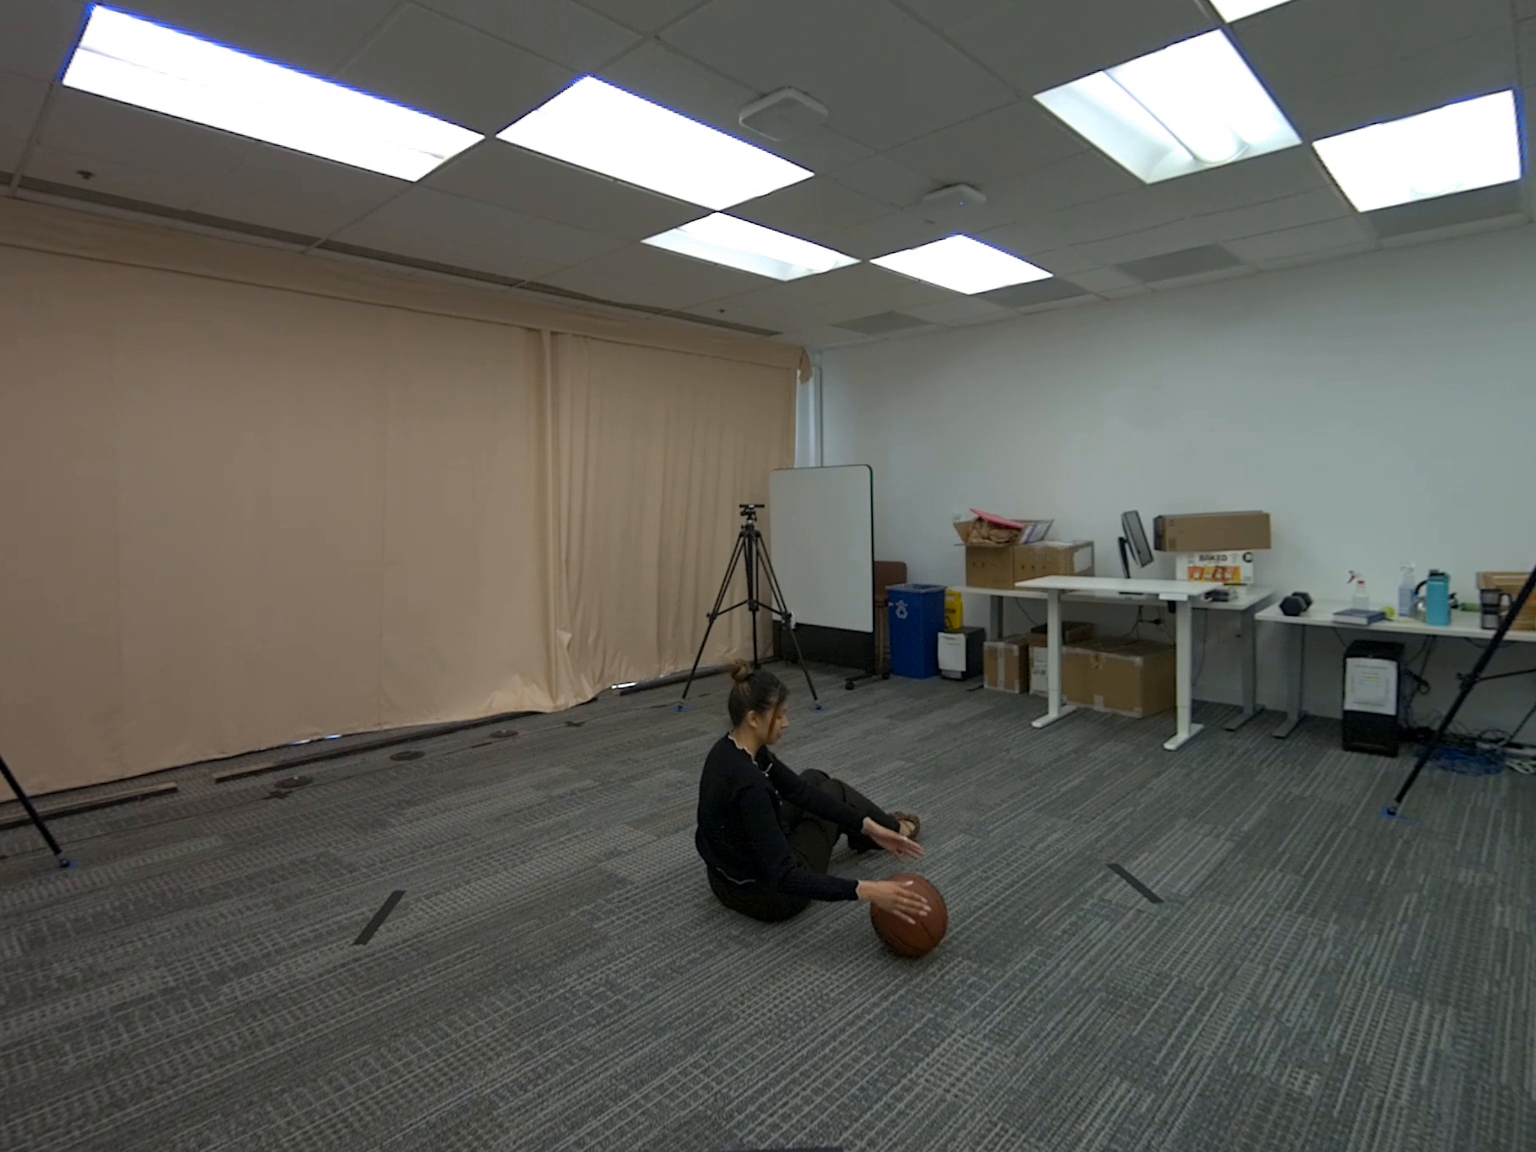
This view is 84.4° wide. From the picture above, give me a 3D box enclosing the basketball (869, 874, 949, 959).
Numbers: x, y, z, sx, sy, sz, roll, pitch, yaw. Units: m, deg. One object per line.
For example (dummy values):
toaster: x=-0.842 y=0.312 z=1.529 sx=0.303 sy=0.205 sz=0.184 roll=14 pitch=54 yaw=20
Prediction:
basketball: x=0.440 y=1.041 z=2.603 sx=0.236 sy=0.235 sz=0.237 roll=-1 pitch=4 yaw=-2
